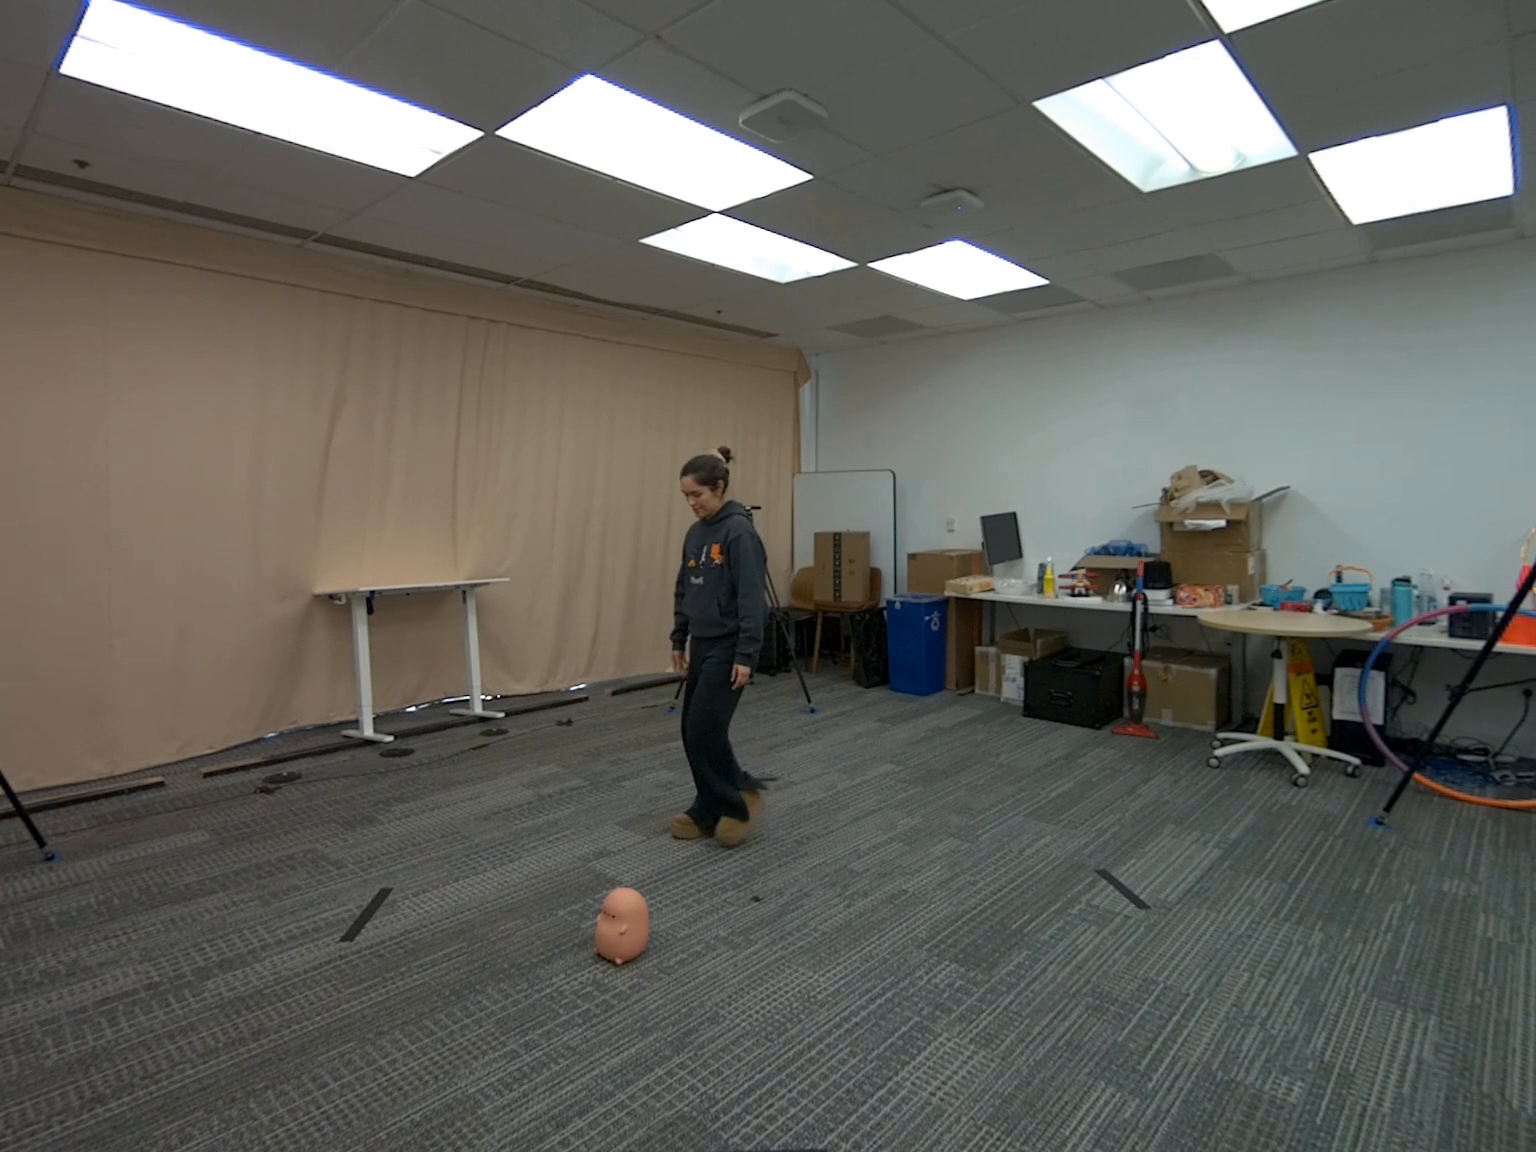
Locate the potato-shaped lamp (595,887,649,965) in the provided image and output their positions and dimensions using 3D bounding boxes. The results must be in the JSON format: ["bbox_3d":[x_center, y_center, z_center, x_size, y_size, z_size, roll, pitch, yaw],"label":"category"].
[{"bbox_3d":[-0.439,1.080,2.626,0.170,0.198,0.166,3,3,43],"label":"potato-shaped lamp"}]
